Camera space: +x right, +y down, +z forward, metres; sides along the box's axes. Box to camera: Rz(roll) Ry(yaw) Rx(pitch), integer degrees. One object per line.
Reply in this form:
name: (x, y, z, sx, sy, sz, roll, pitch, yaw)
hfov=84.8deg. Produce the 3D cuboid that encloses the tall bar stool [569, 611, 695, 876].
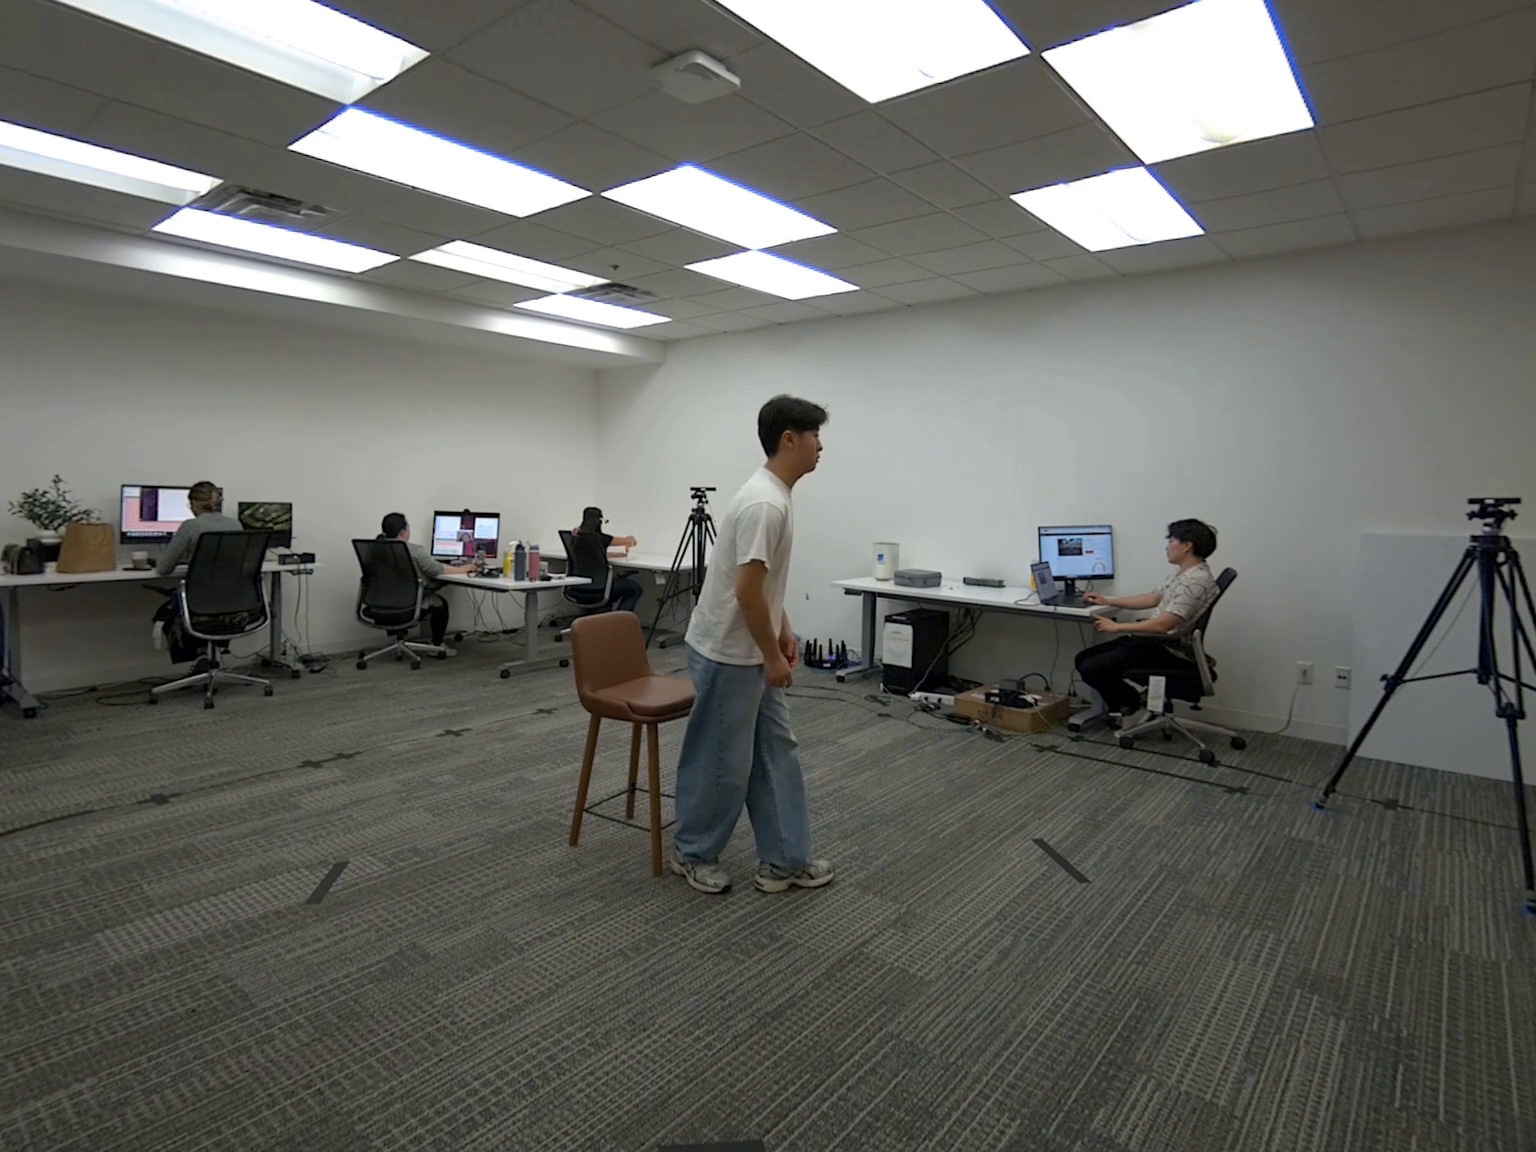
tall bar stool: (-0.489, 0.605, 3.311, 0.481, 0.888, 0.444, 1, 2, 31)
